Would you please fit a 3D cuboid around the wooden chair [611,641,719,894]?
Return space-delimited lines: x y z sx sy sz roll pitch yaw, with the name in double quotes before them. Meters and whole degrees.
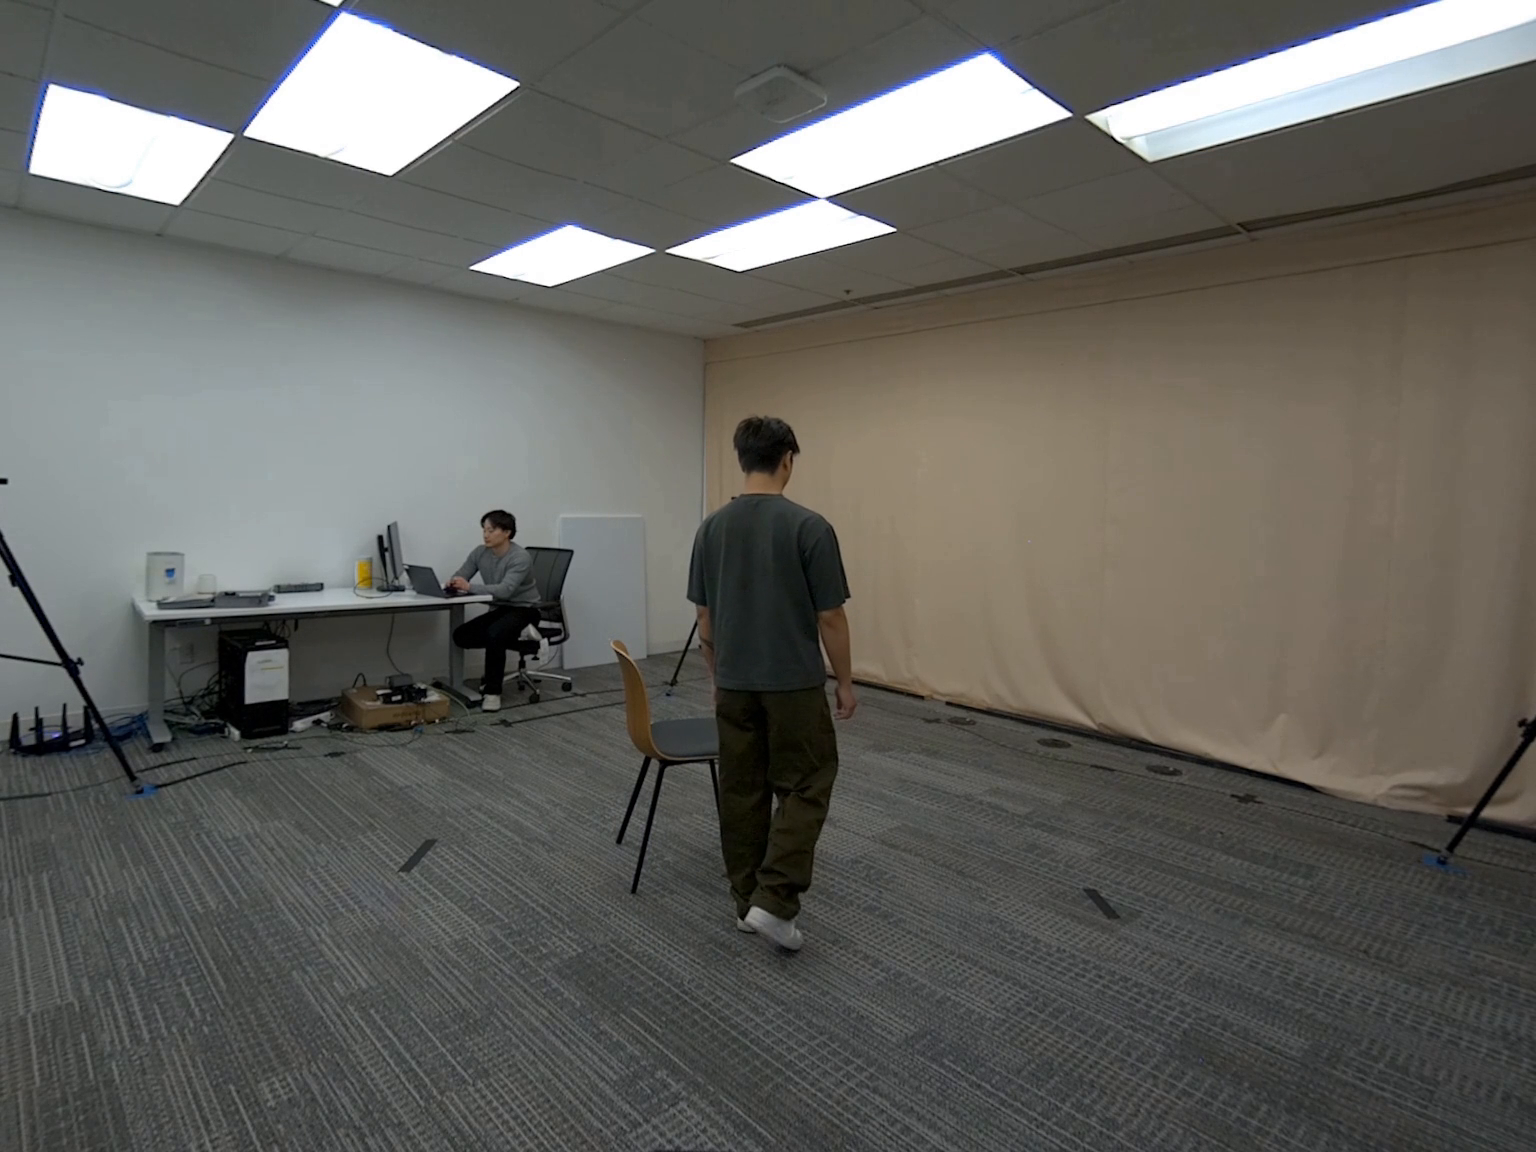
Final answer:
"wooden chair" -0.314 0.666 3.188 0.517 0.874 0.485 -4 5 -16
